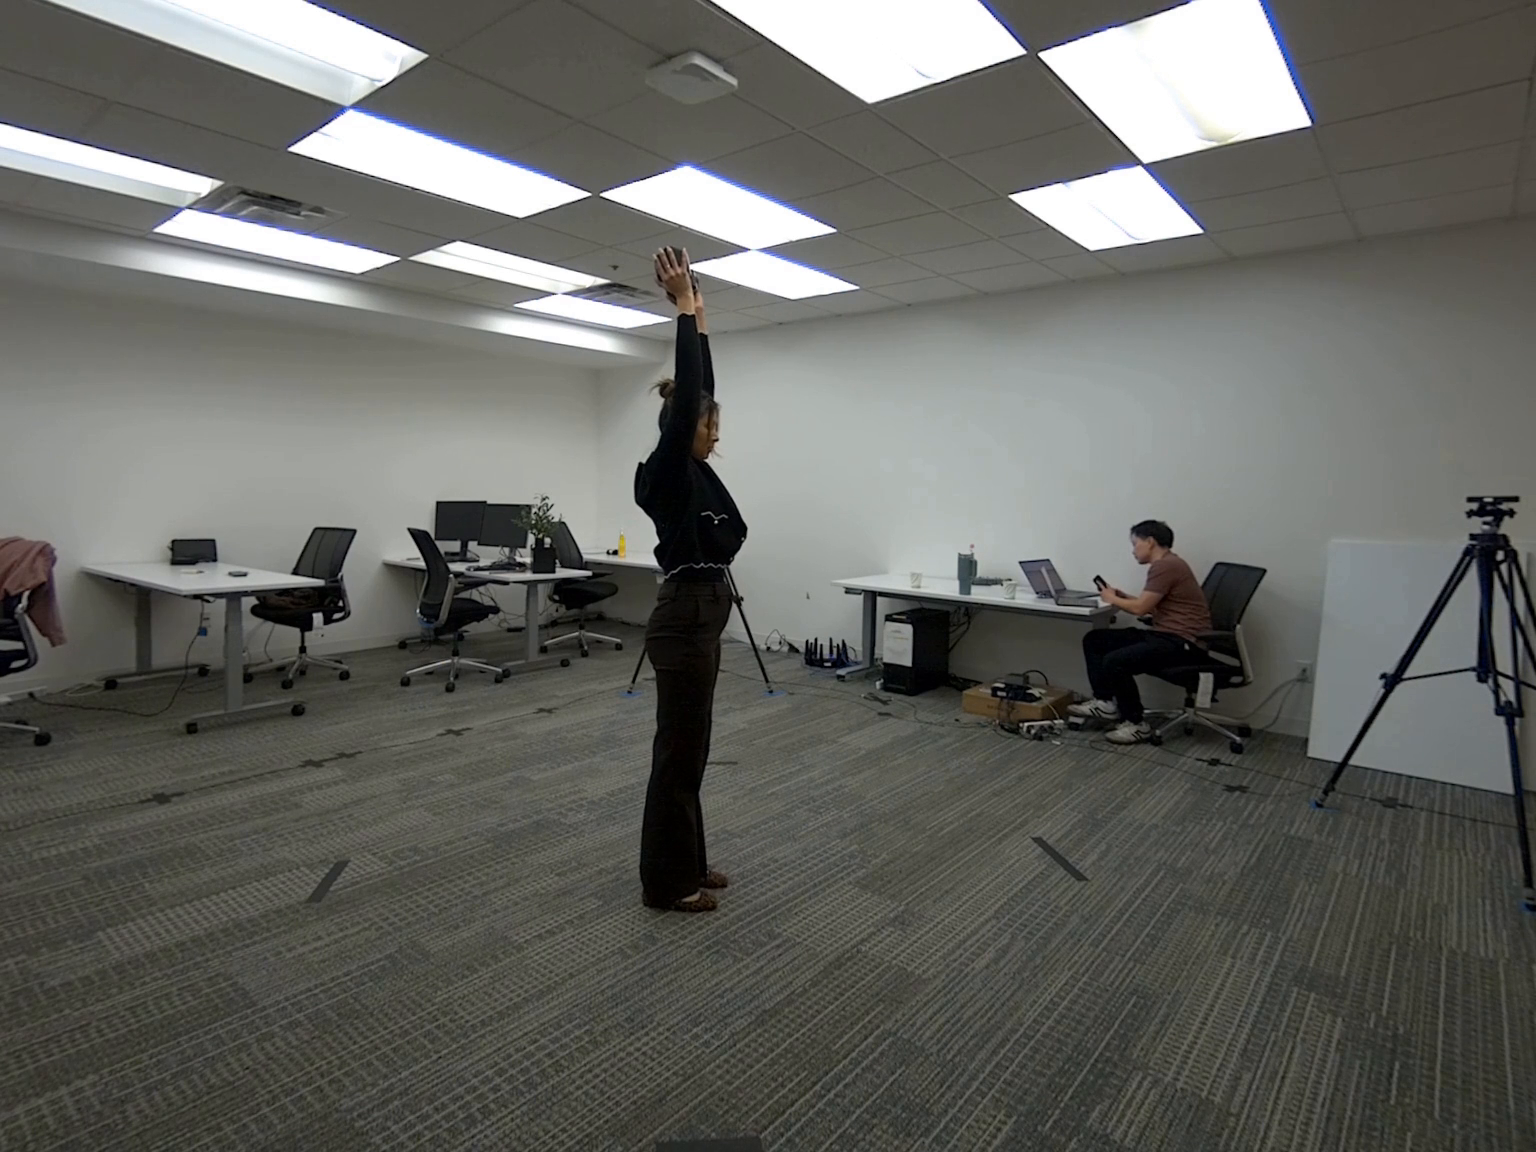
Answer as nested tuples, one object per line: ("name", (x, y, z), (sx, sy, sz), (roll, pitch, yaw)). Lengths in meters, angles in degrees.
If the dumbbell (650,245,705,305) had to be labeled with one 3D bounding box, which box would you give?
("dumbbell", (-0.301, -0.995, 2.828), (0.123, 0.108, 0.294), (24, 5, -2))
